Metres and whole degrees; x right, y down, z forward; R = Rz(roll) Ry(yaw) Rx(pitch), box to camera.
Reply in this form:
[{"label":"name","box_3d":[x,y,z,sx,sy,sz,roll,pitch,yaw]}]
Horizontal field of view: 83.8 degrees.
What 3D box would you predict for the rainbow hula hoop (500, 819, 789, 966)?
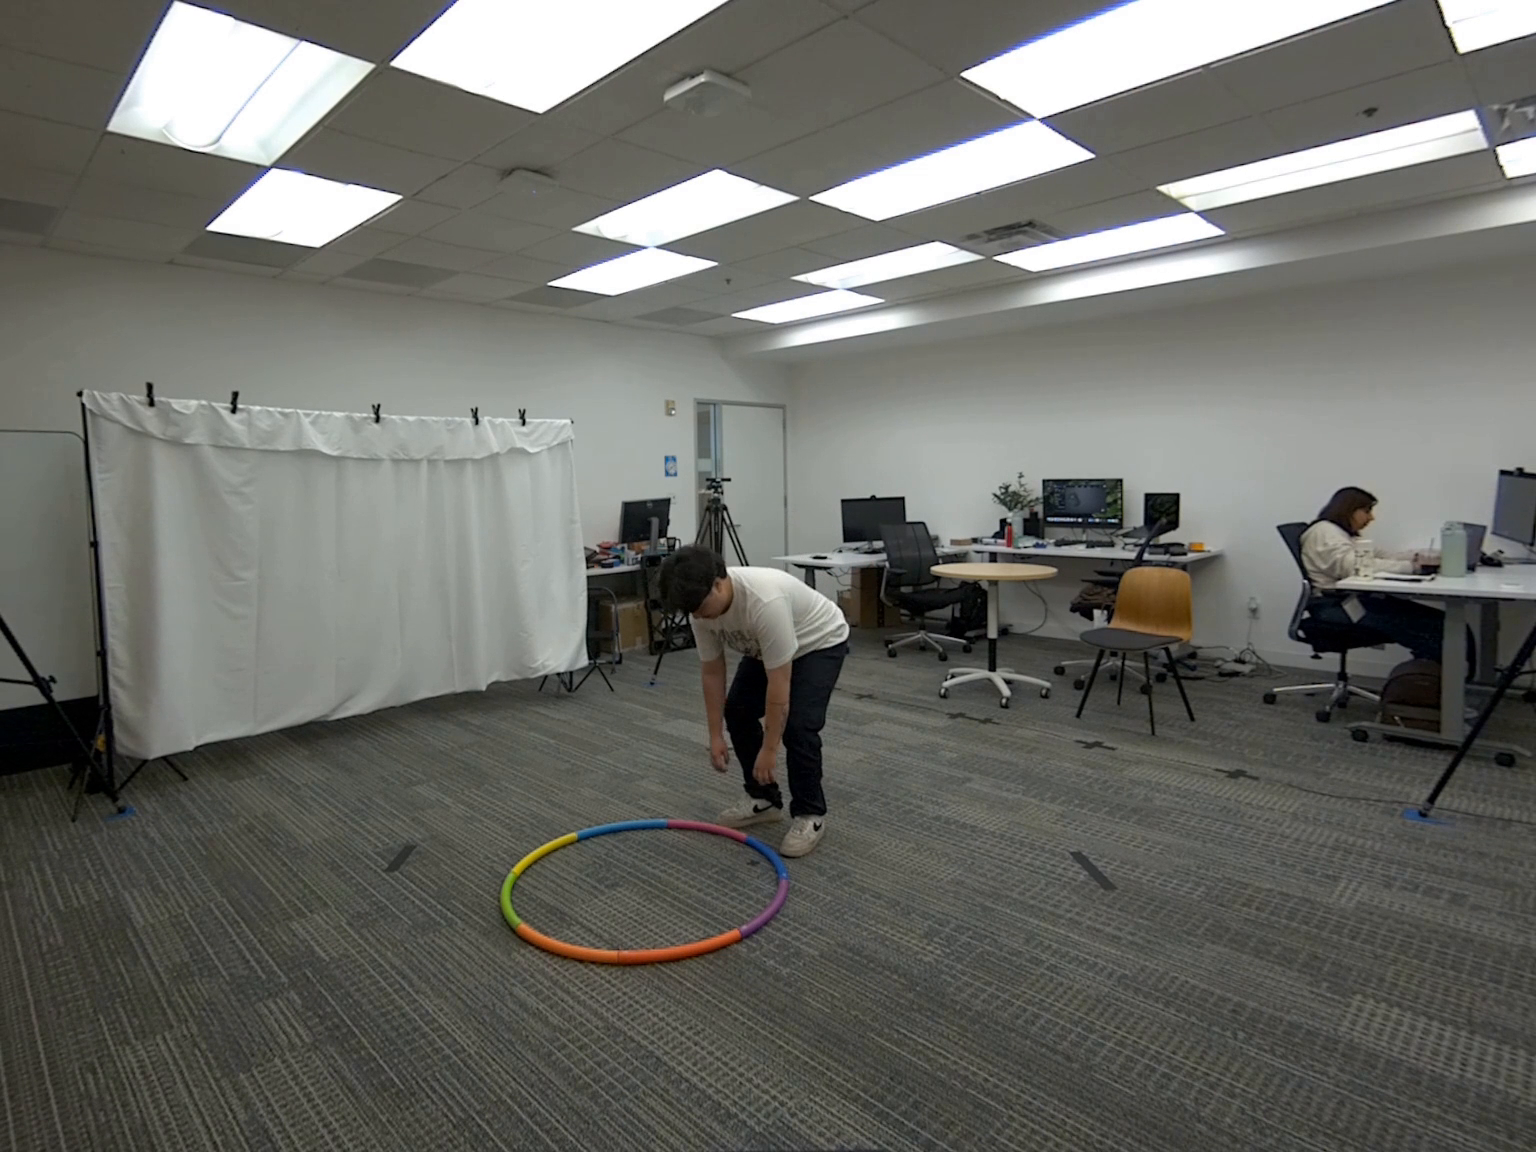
[{"label":"rainbow hula hoop","box_3d":[-0.418,1.041,2.954,0.985,0.051,0.991,-1,6,-2]}]
